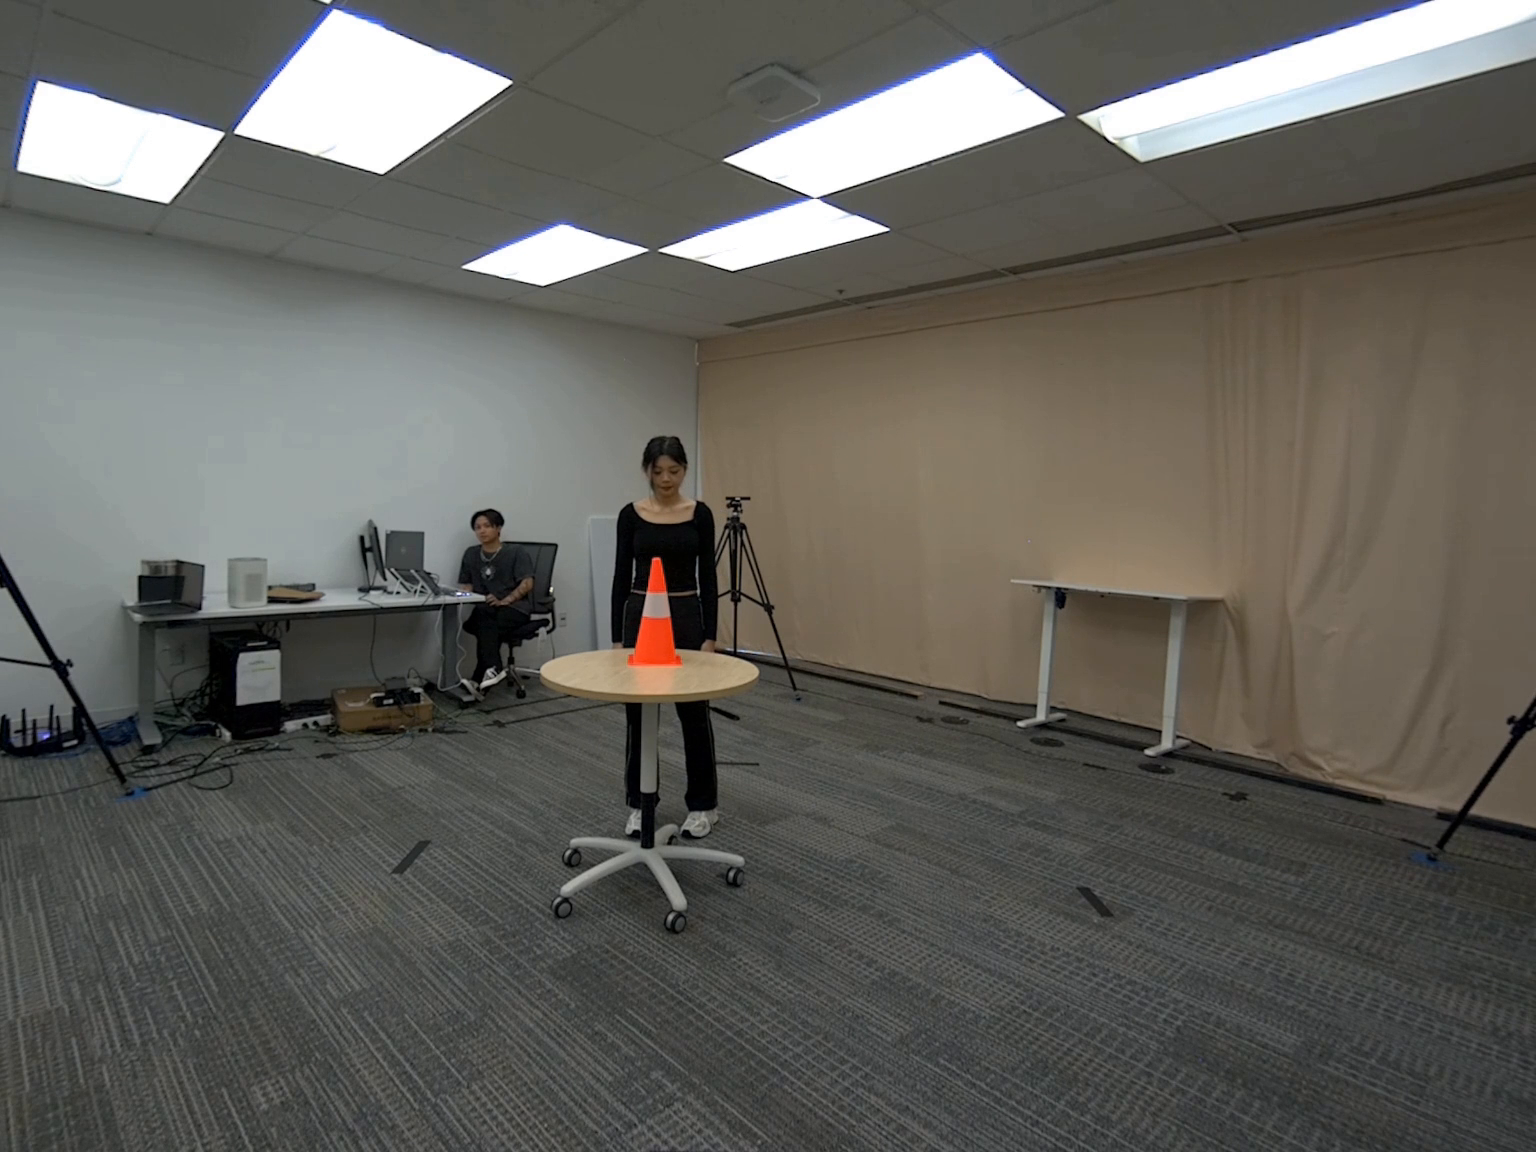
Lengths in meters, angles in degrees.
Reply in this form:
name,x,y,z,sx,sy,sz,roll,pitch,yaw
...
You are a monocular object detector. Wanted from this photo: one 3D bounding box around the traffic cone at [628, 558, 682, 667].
name,x,y,z,sx,sy,sz,roll,pitch,yaw
traffic cone,-0.431,0.127,3.111,0.204,0.383,0.205,0,4,-8
